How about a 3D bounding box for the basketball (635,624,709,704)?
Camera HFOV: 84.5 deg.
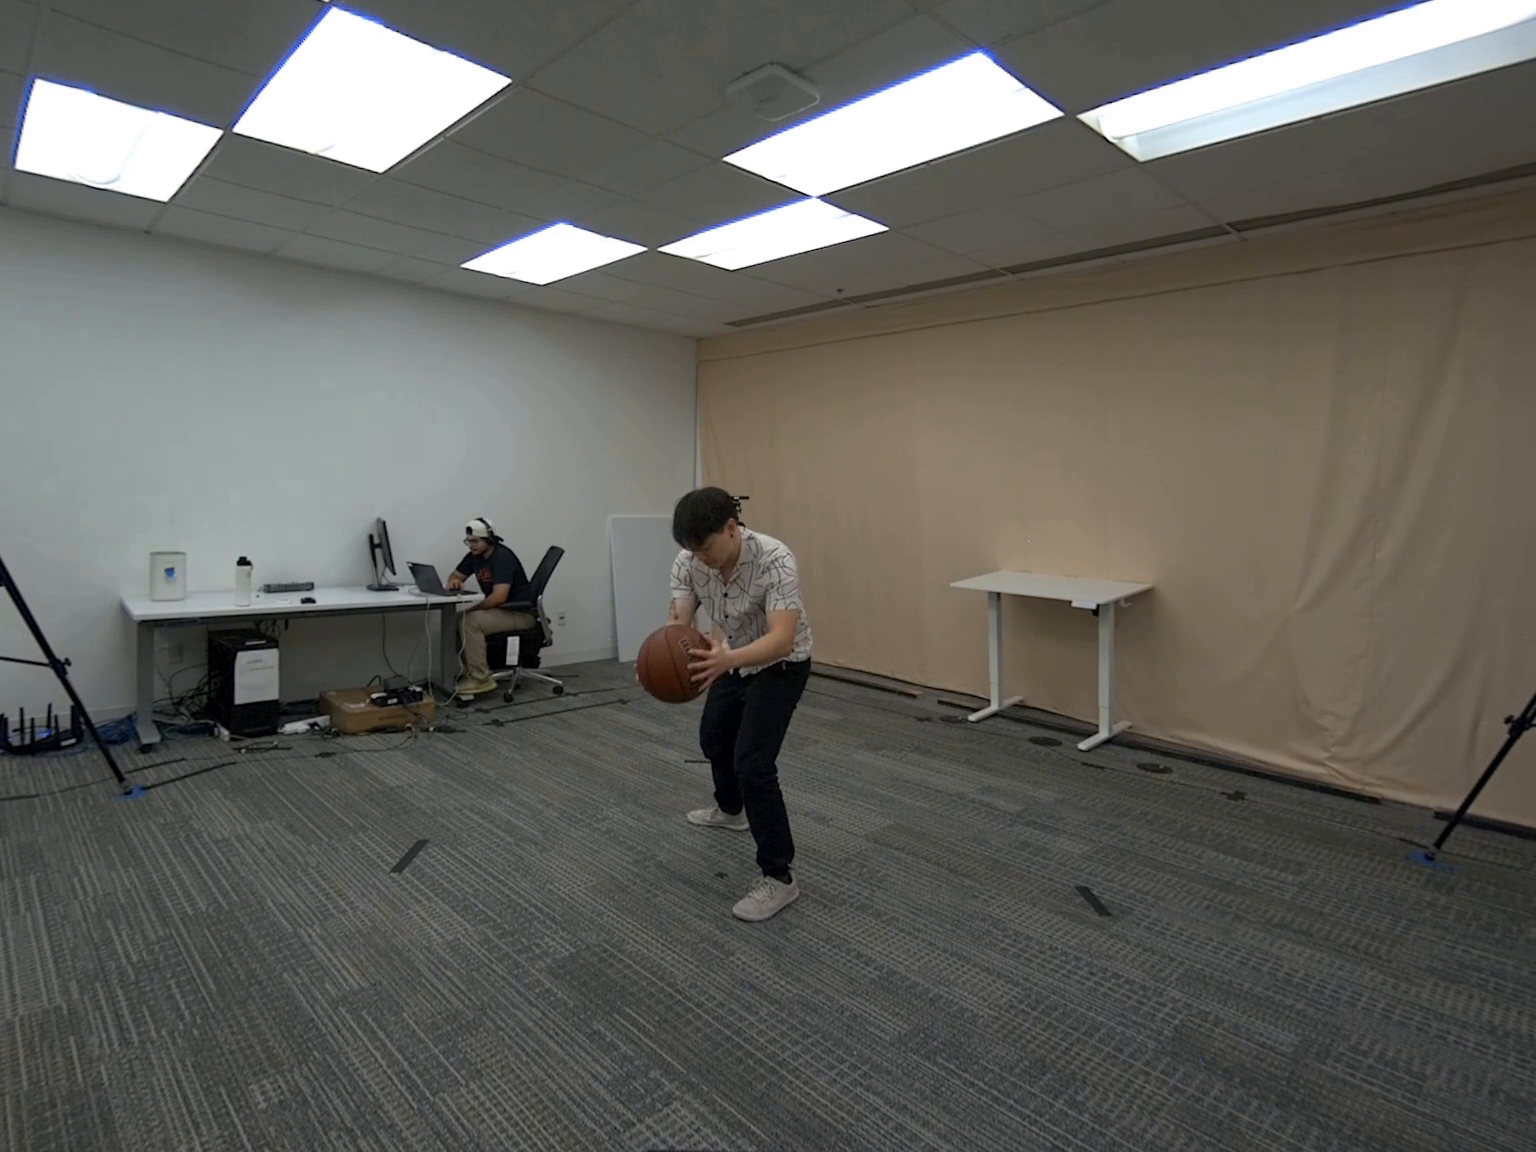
[{"bbox_3d":[-0.281,0.267,2.566,0.236,0.235,0.237,1,4,-1],"label":"basketball"}]
